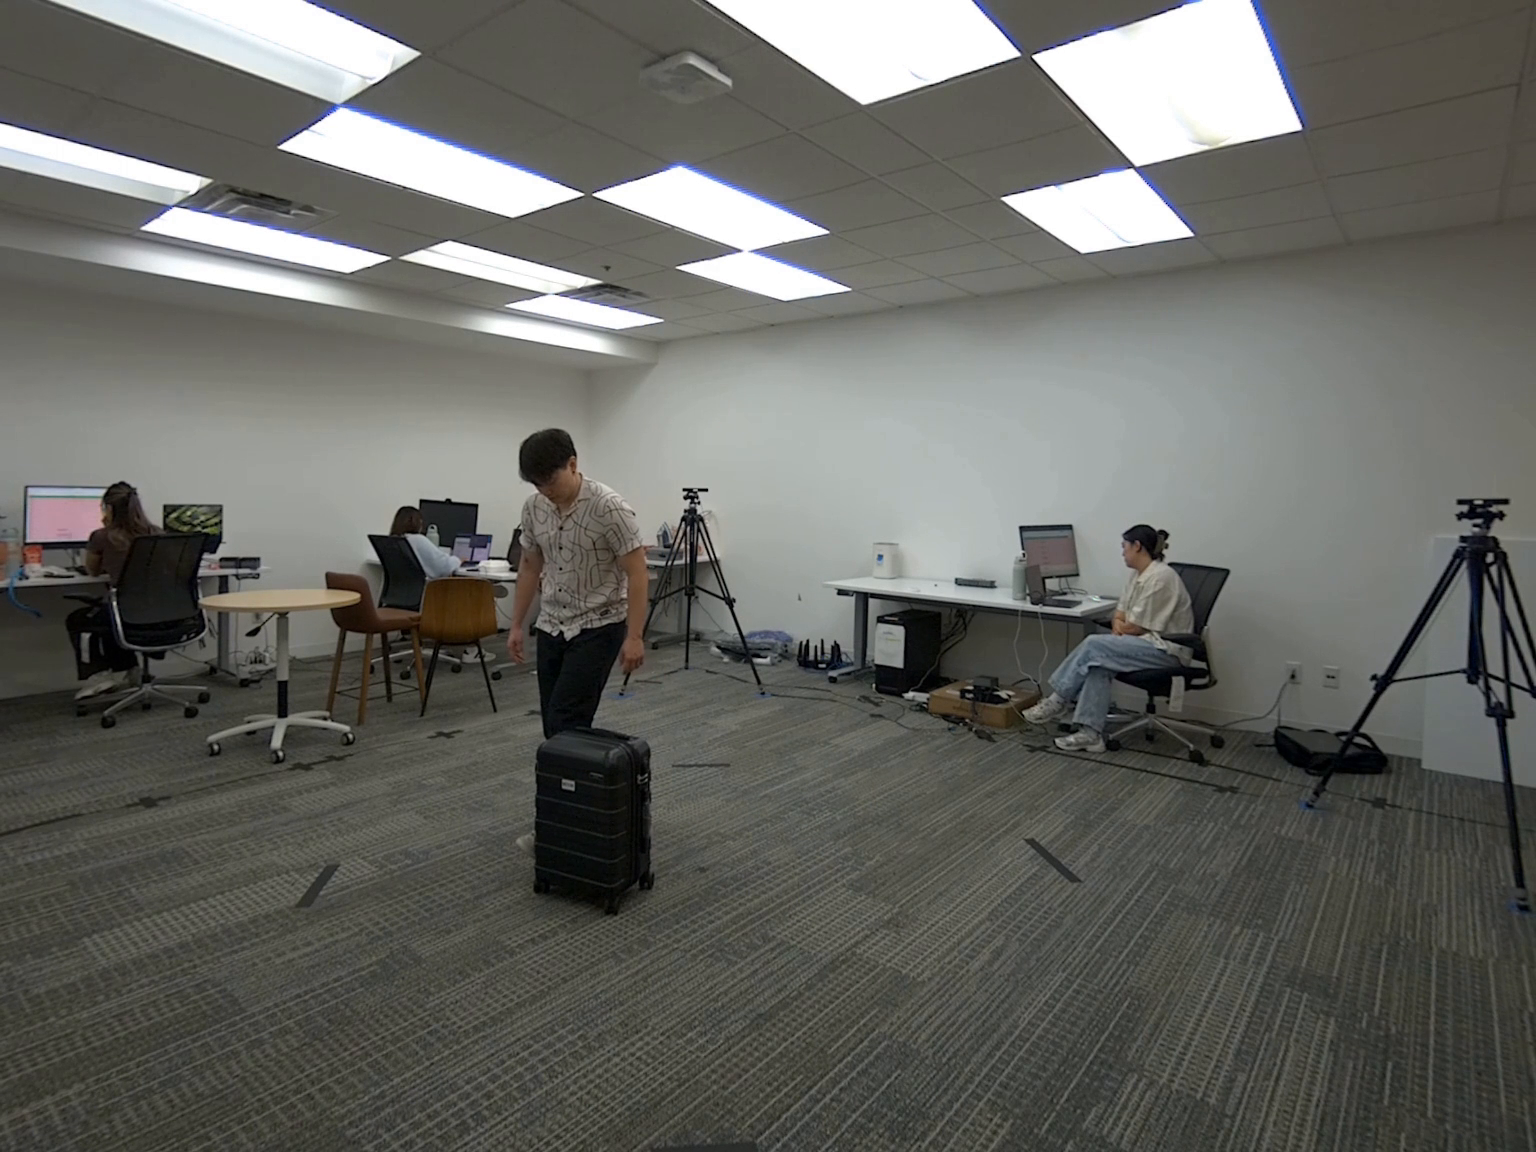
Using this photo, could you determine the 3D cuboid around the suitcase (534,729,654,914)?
[{"bbox_3d":[-0.603,0.807,2.901,0.386,0.547,0.243,4,6,27],"label":"suitcase"}]
